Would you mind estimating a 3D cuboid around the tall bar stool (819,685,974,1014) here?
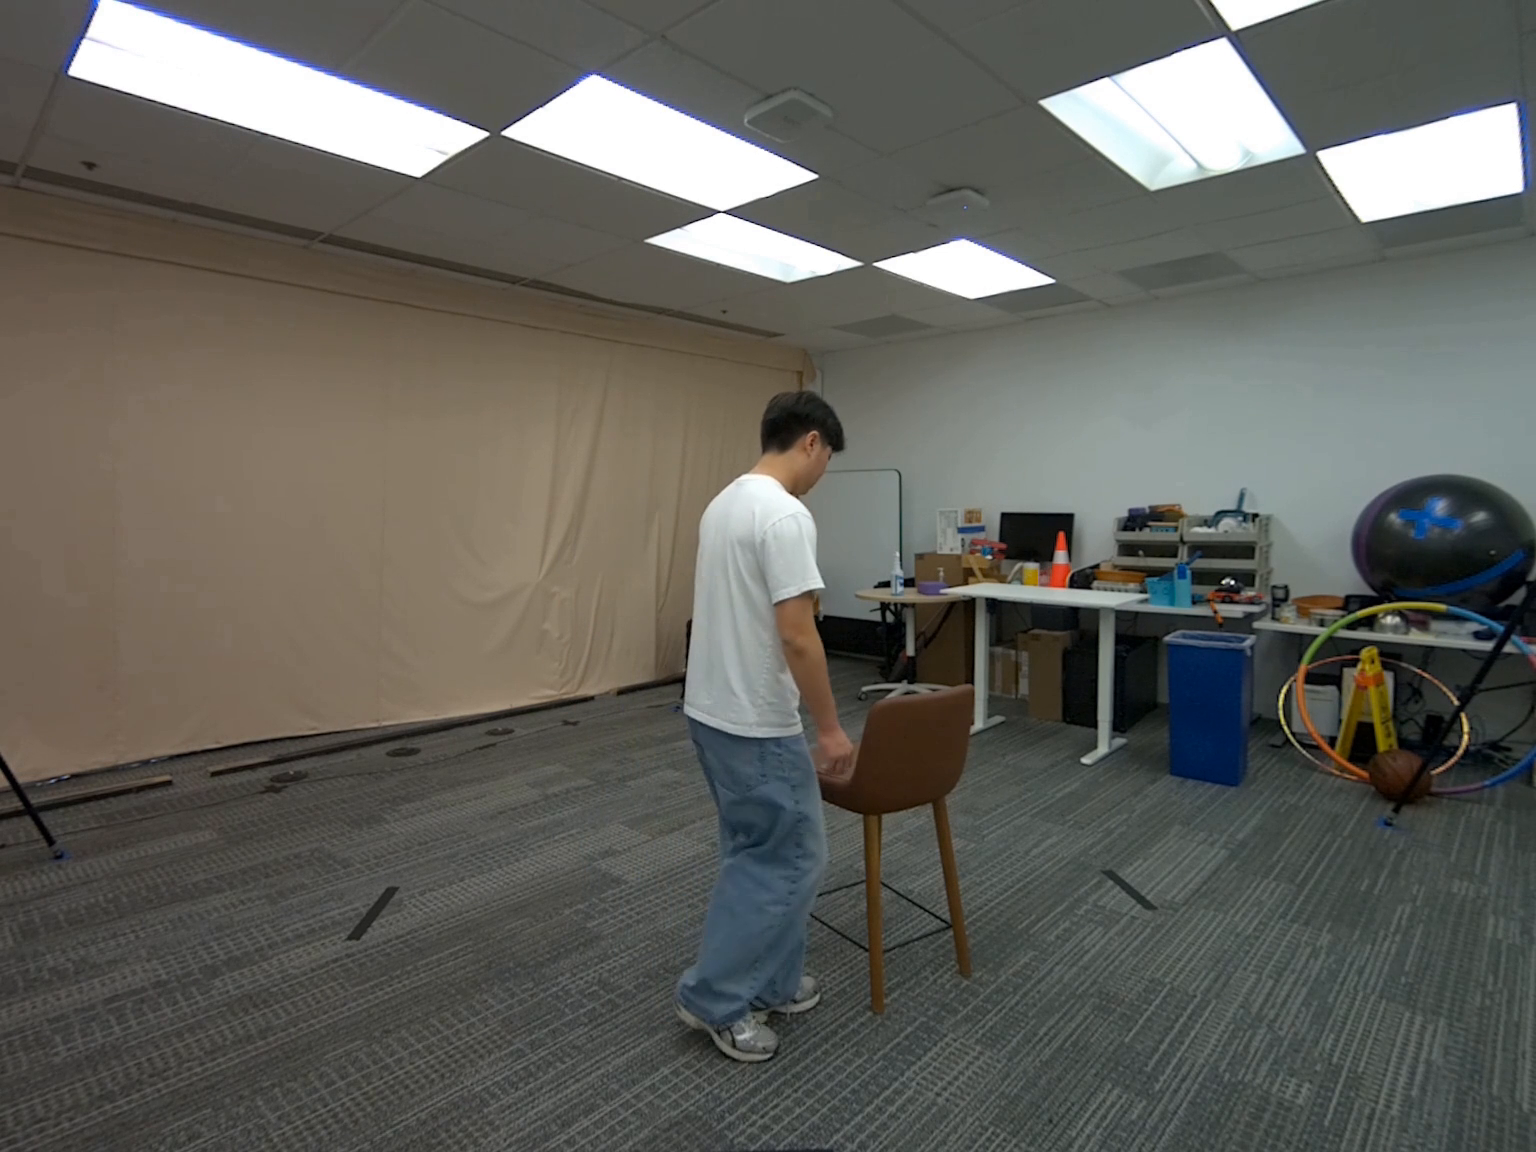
[{"bbox_3d":[0.336,0.745,2.565,0.444,0.887,0.482,-2,5,-33],"label":"tall bar stool"}]
